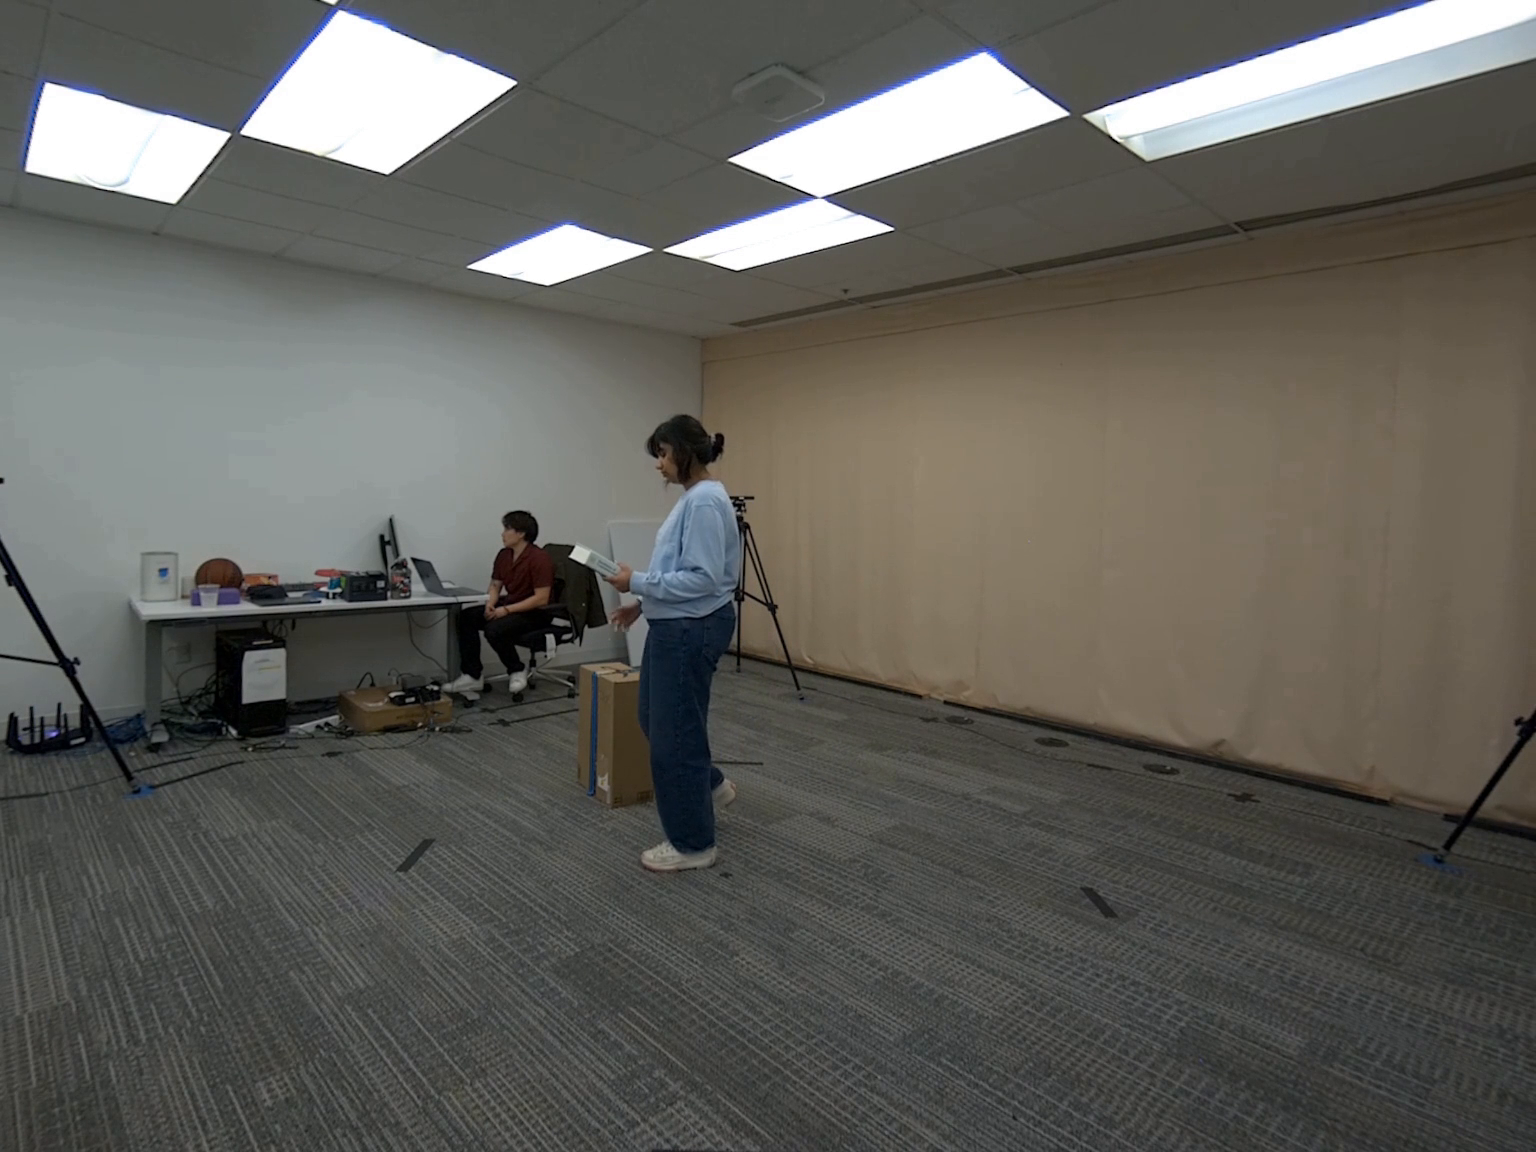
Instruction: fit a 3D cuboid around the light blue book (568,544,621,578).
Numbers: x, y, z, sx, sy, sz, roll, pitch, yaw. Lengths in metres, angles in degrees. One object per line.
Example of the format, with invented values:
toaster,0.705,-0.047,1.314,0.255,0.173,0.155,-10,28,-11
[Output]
light blue book,-0.591,-0.024,3.117,0.254,0.059,0.196,32,-7,-30
